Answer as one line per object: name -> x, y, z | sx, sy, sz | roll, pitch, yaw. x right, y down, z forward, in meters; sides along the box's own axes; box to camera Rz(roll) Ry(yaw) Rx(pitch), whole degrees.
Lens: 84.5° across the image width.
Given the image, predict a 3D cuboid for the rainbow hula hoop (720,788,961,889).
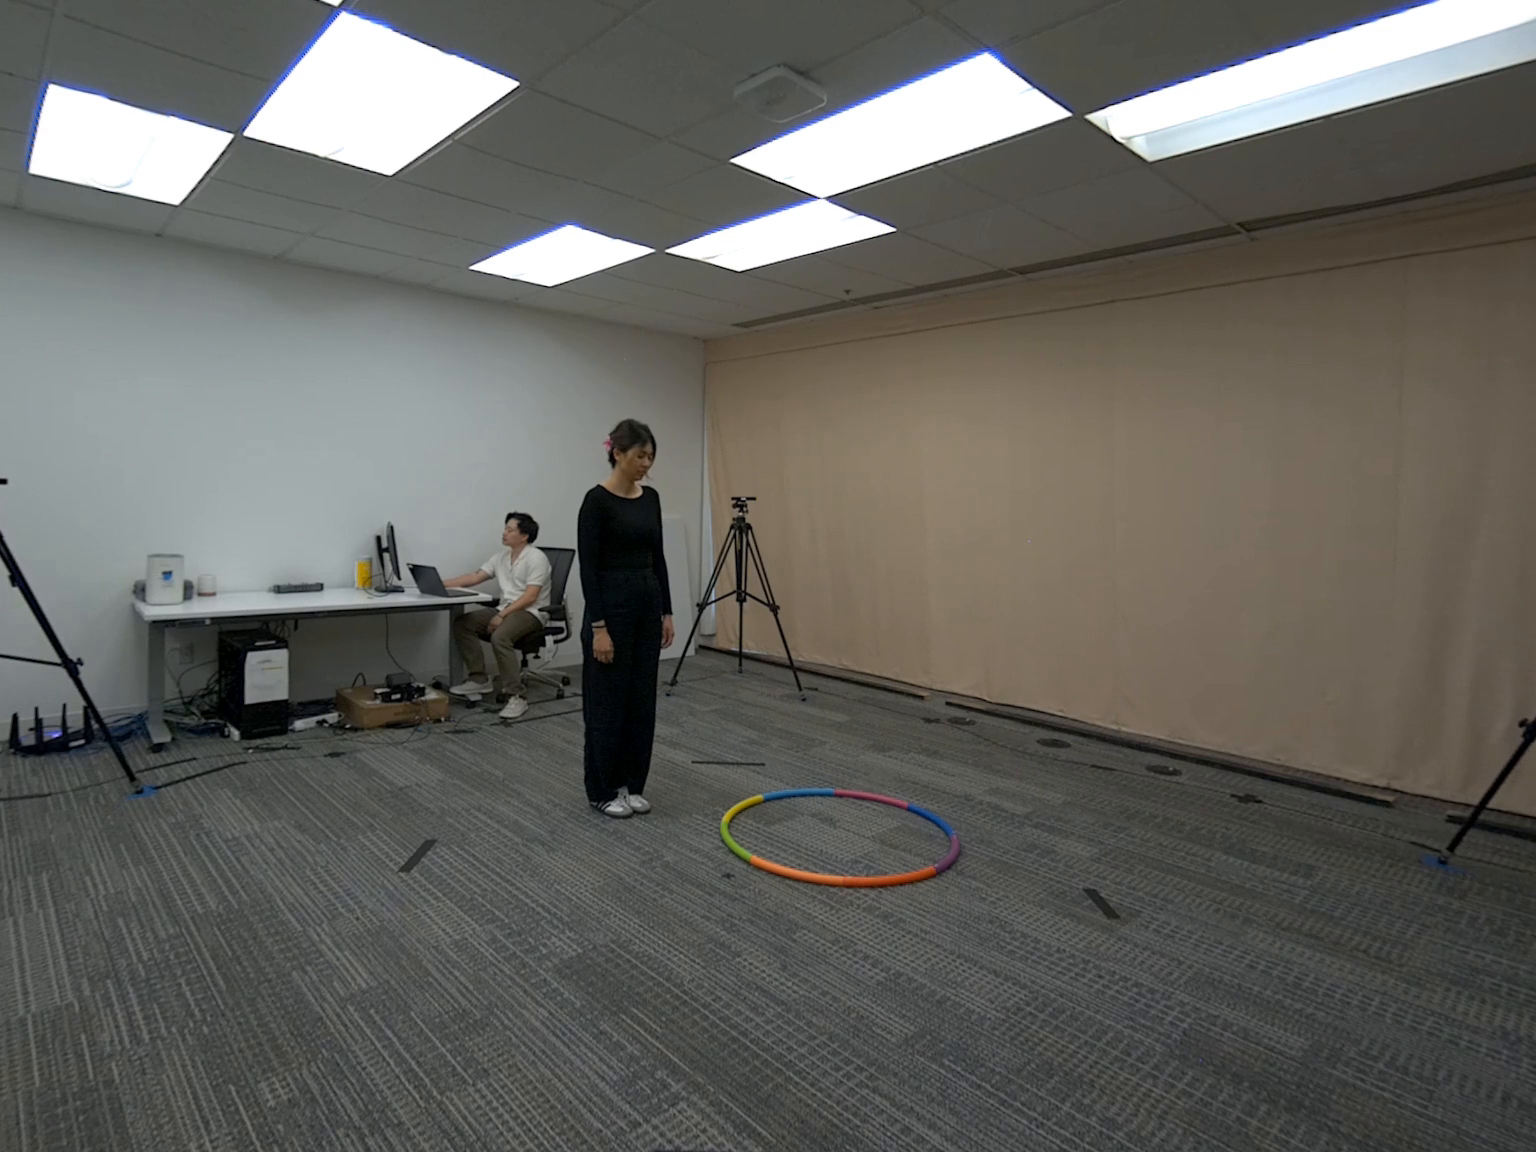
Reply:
rainbow hula hoop -> 0.280, 1.050, 3.513 | 0.978, 0.035, 0.982 | 2, 5, -1
